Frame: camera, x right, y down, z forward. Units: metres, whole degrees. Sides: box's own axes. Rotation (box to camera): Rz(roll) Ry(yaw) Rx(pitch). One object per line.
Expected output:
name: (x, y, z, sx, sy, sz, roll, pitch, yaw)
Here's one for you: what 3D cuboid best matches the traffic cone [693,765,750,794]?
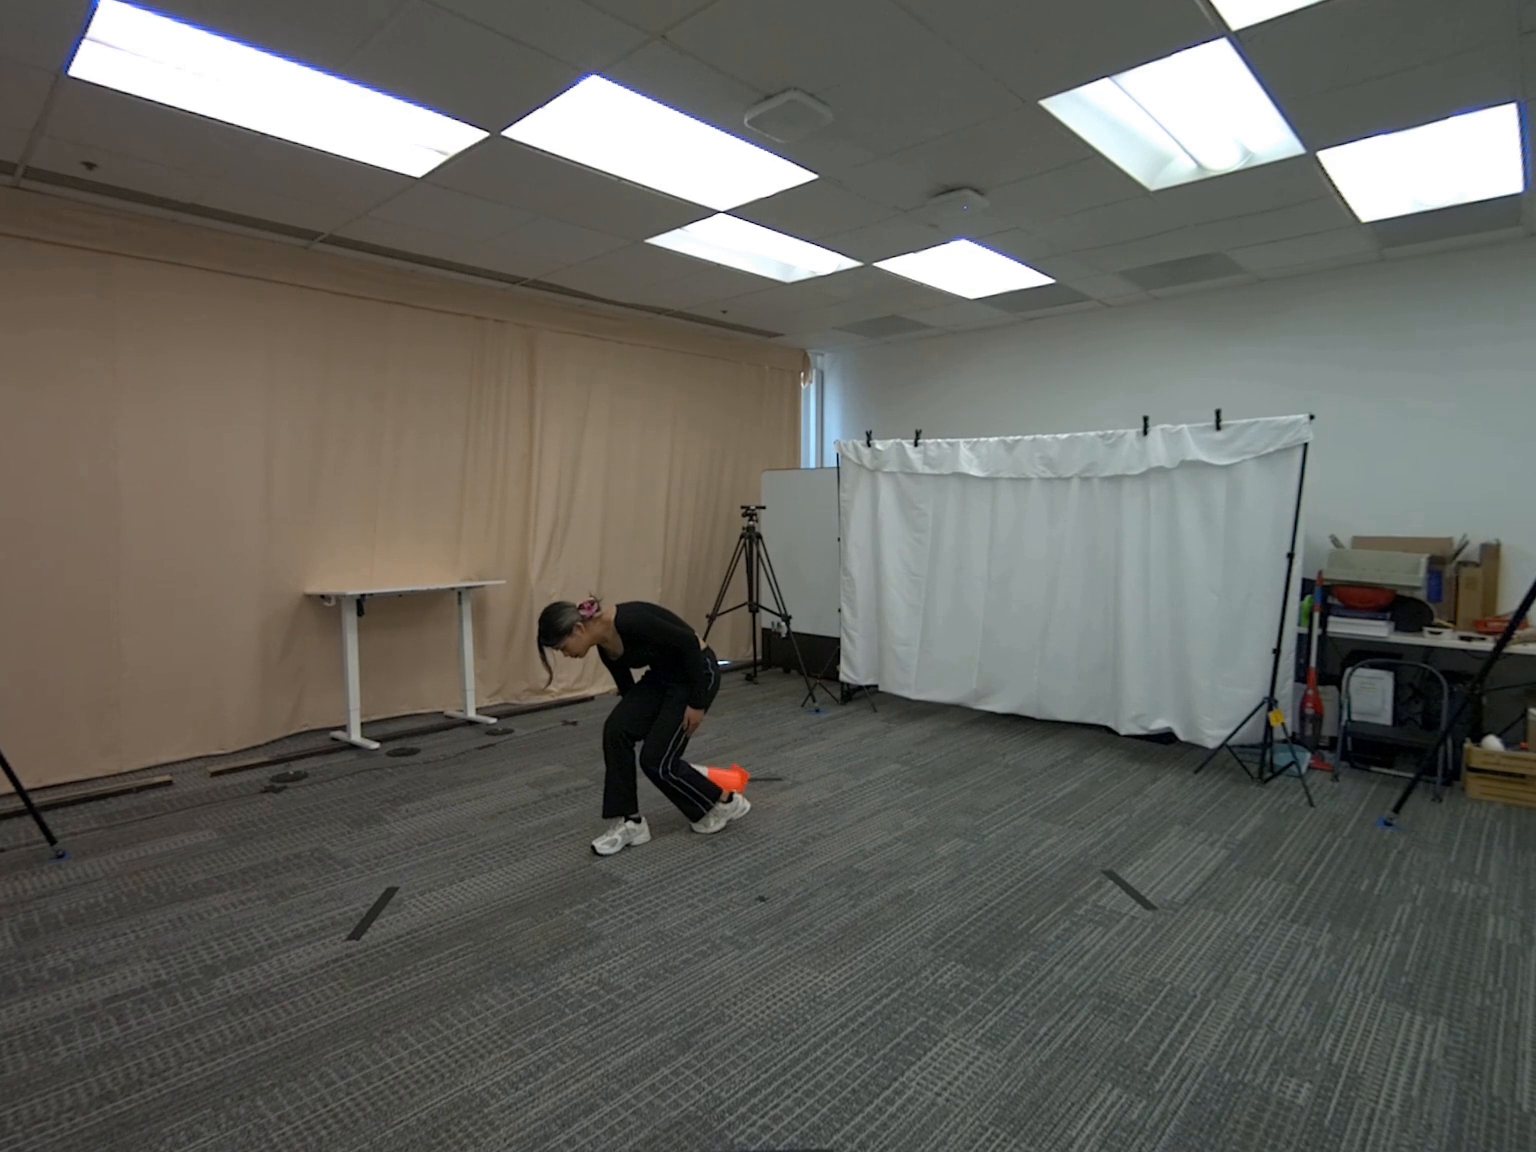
traffic cone: (-0.321, 0.903, 3.822, 0.375, 0.203, 0.209, 27, -12, -19)
